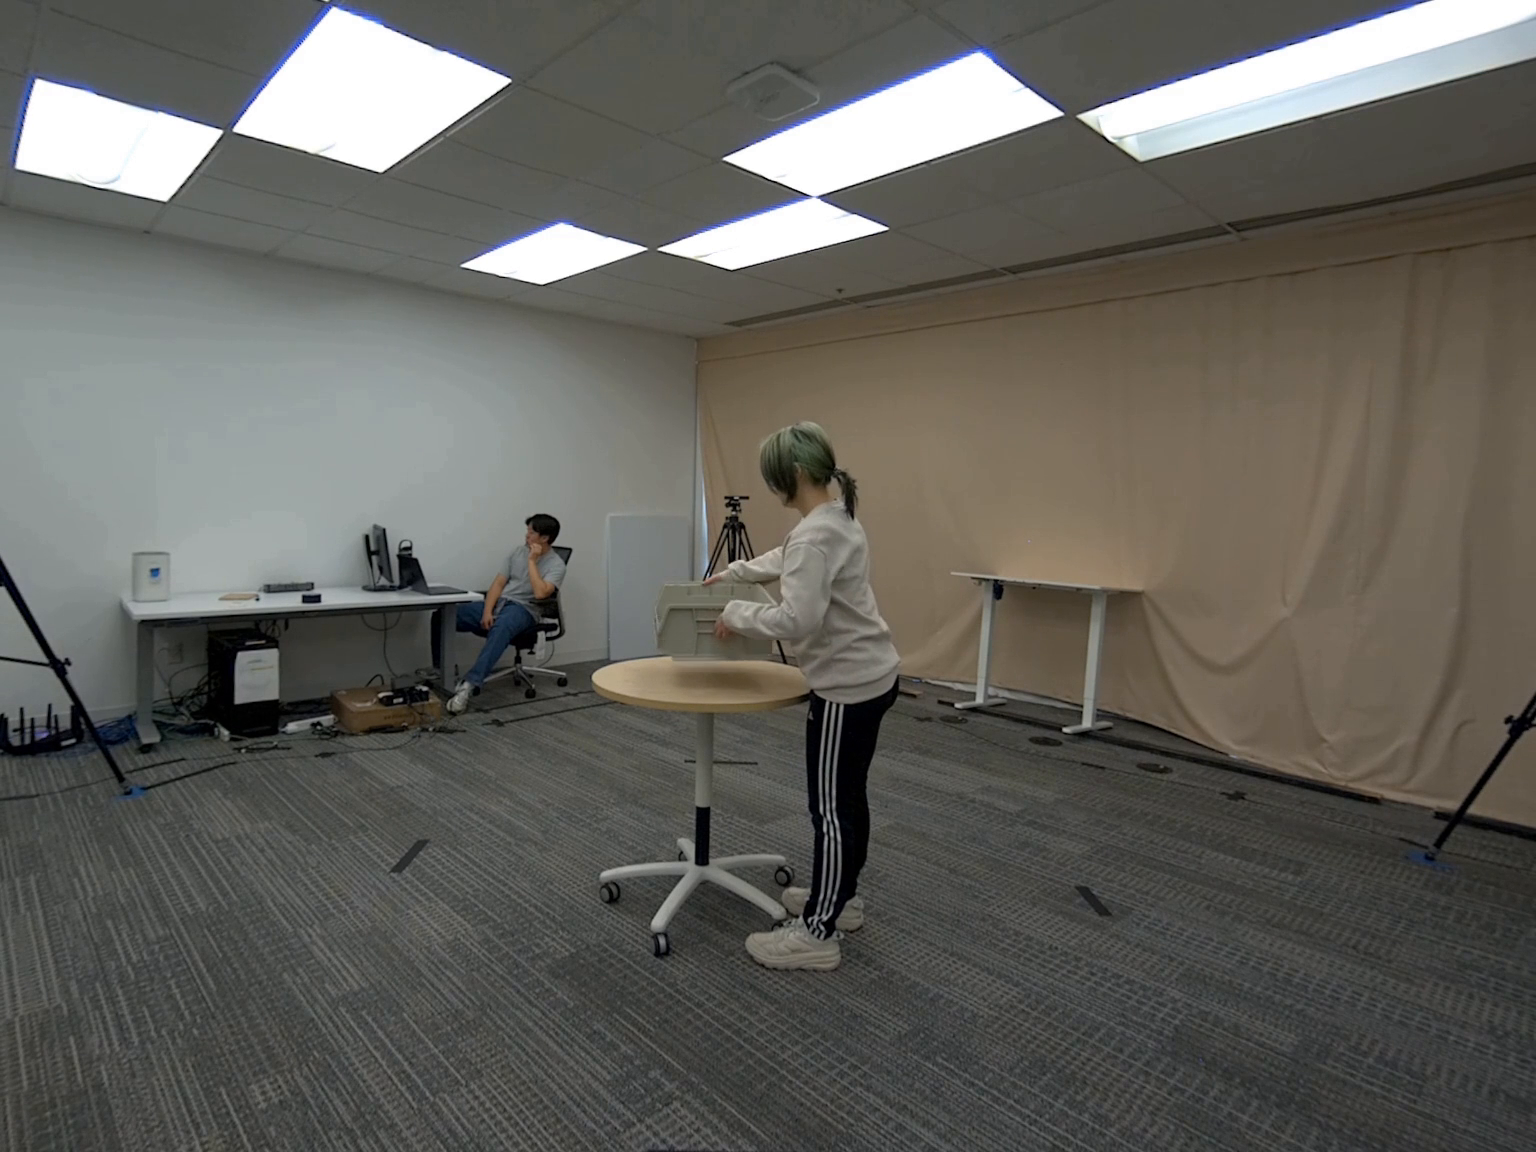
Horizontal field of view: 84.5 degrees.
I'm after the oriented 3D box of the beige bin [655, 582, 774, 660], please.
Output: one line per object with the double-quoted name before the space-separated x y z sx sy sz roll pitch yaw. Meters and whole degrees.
"beige bin" -0.202 0.155 2.818 0.375 0.187 0.428 0 11 -7
